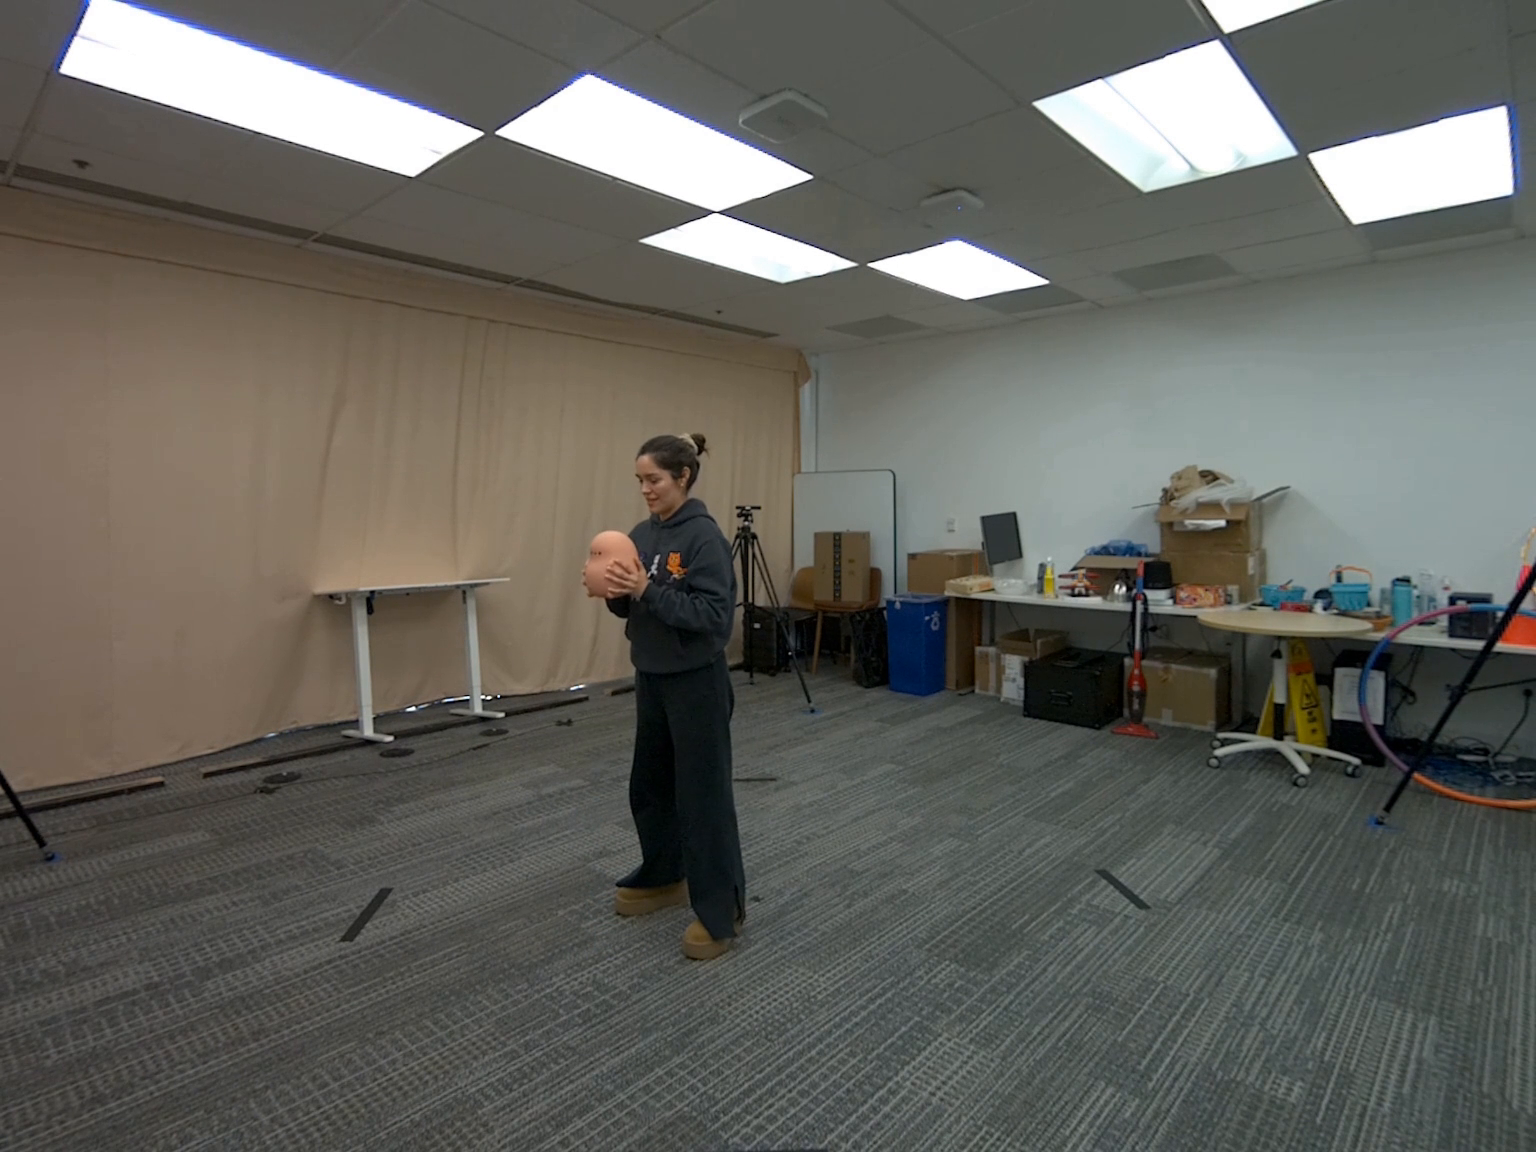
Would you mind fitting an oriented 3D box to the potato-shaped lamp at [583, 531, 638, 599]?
[{"bbox_3d":[-0.469,-0.032,2.592,0.170,0.197,0.167,1,12,45],"label":"potato-shaped lamp"}]
